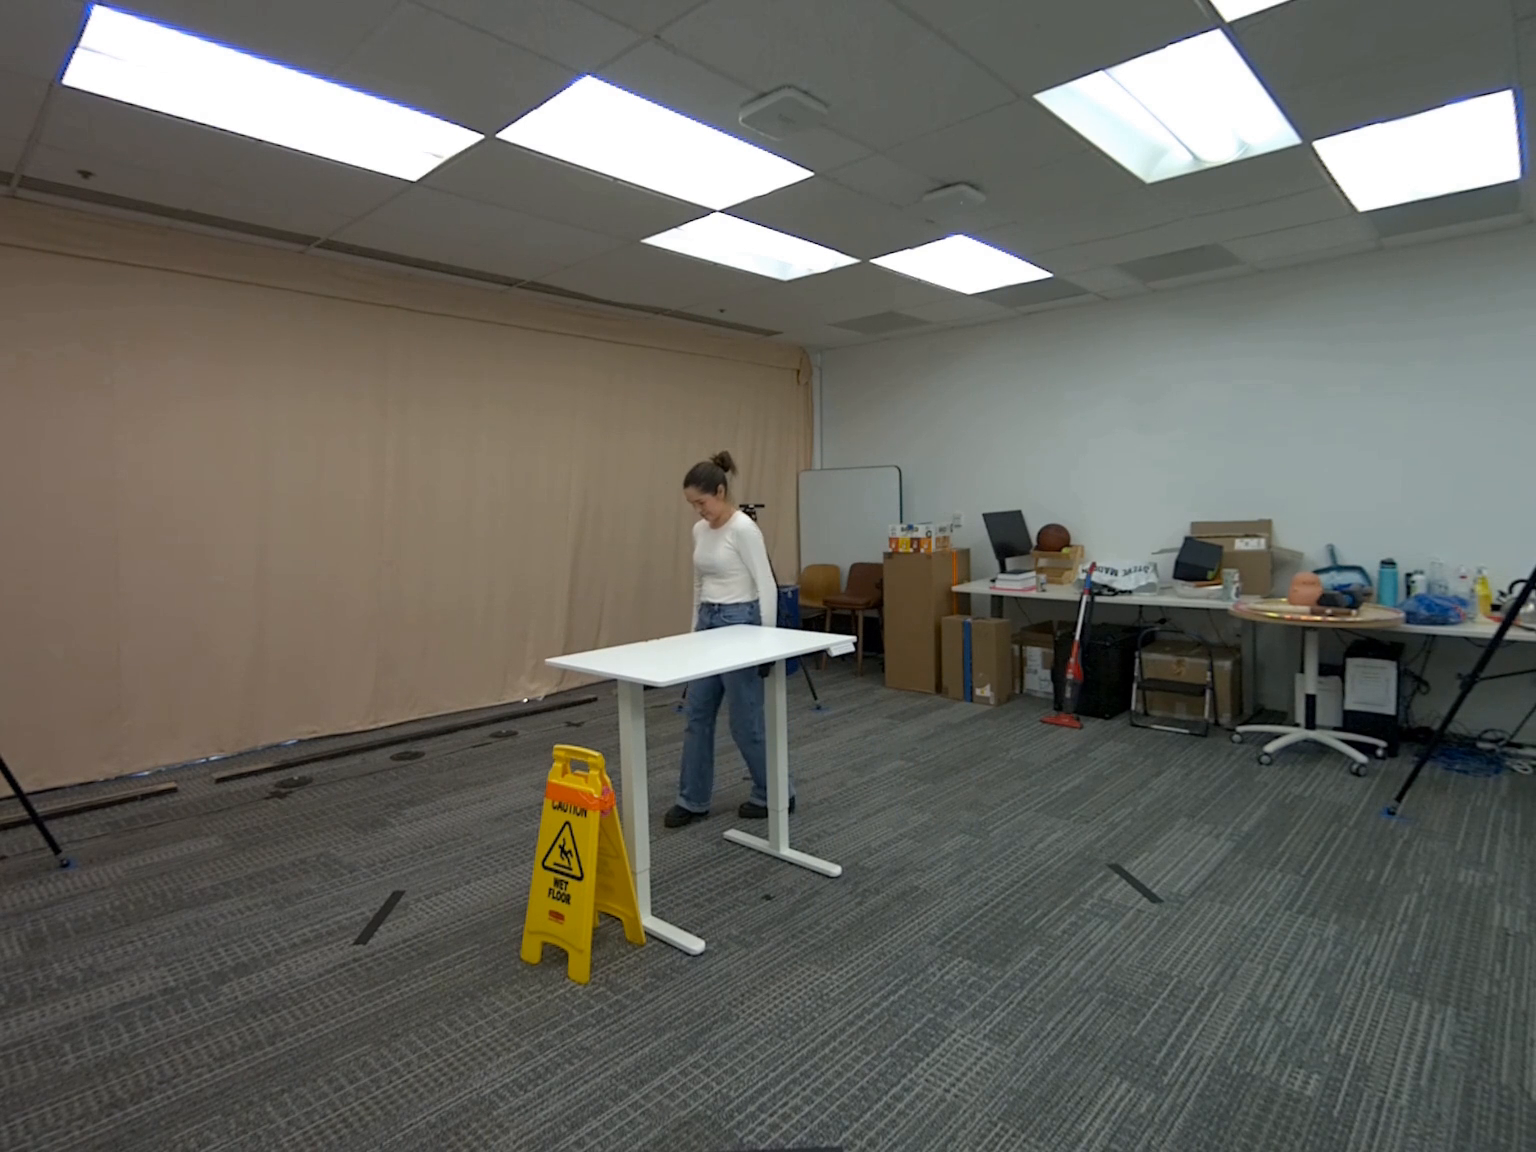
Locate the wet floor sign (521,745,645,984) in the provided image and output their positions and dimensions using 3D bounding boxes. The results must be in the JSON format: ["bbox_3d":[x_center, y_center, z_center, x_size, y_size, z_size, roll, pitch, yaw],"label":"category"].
[{"bbox_3d":[-0.589,0.861,2.629,0.291,0.645,0.281,0,4,35],"label":"wet floor sign"}]
